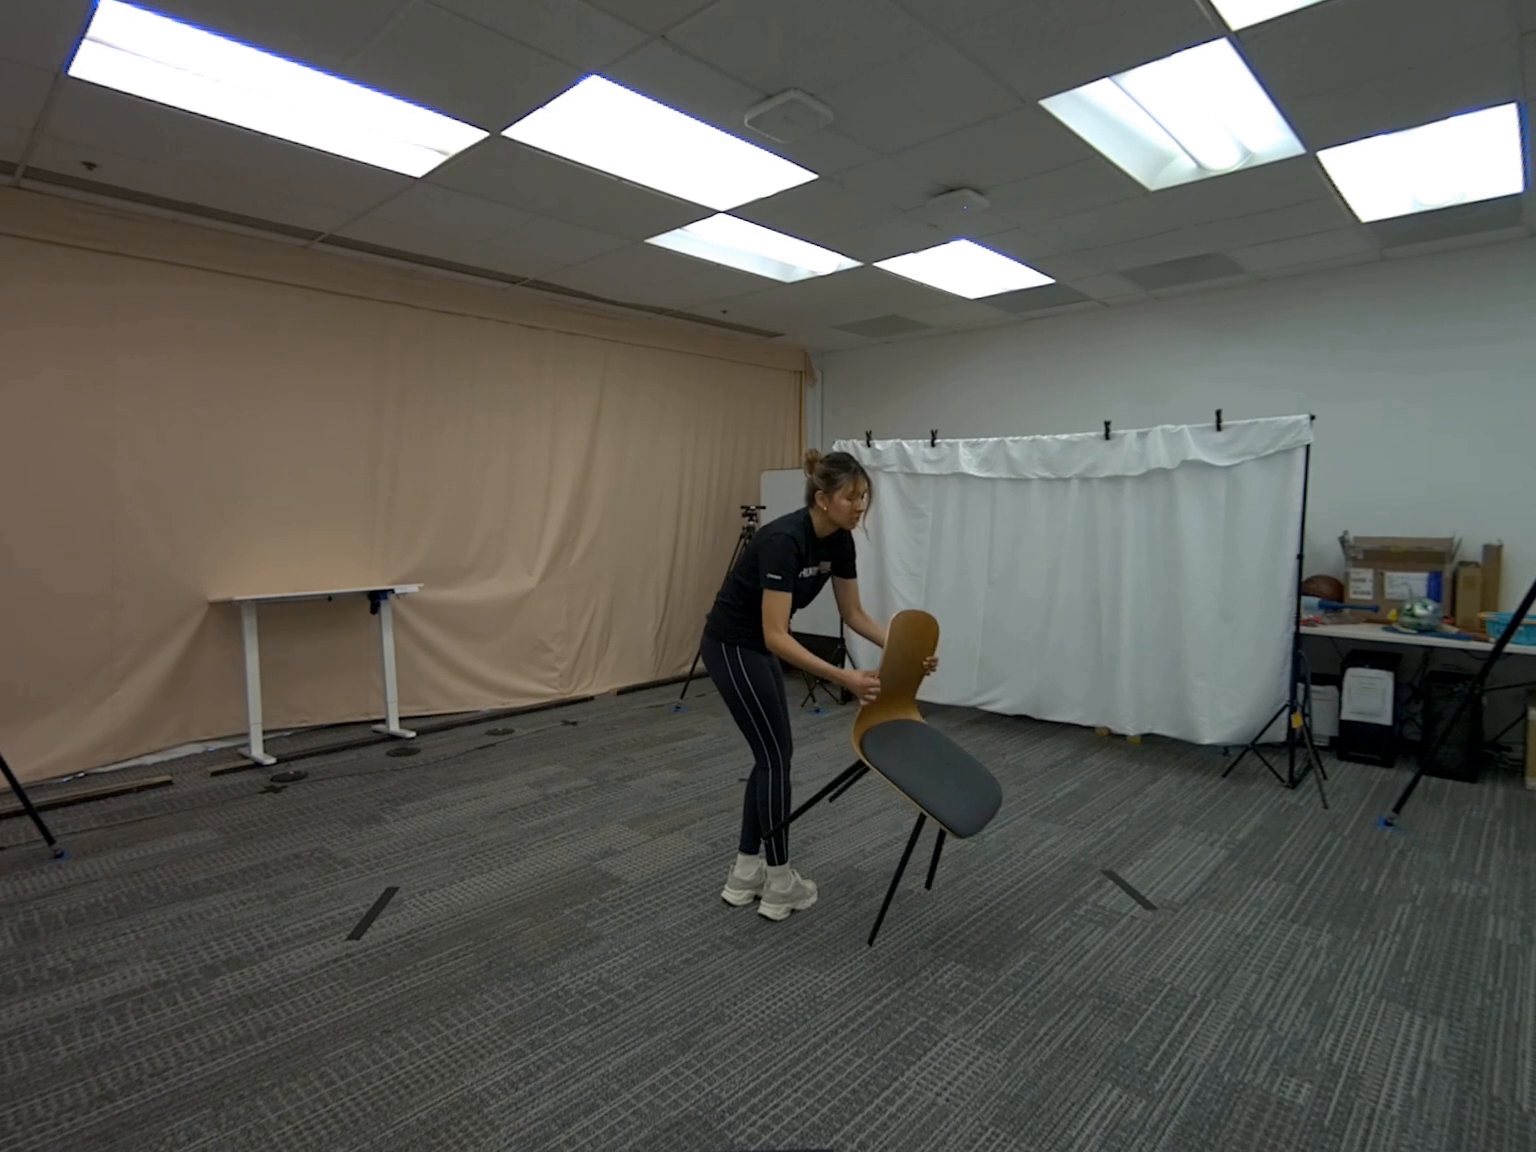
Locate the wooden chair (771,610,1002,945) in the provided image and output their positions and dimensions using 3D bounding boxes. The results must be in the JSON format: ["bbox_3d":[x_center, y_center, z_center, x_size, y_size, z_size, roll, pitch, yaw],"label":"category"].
[{"bbox_3d":[0.463,0.613,2.638,0.540,0.874,0.464,34,21,28],"label":"wooden chair"}]
